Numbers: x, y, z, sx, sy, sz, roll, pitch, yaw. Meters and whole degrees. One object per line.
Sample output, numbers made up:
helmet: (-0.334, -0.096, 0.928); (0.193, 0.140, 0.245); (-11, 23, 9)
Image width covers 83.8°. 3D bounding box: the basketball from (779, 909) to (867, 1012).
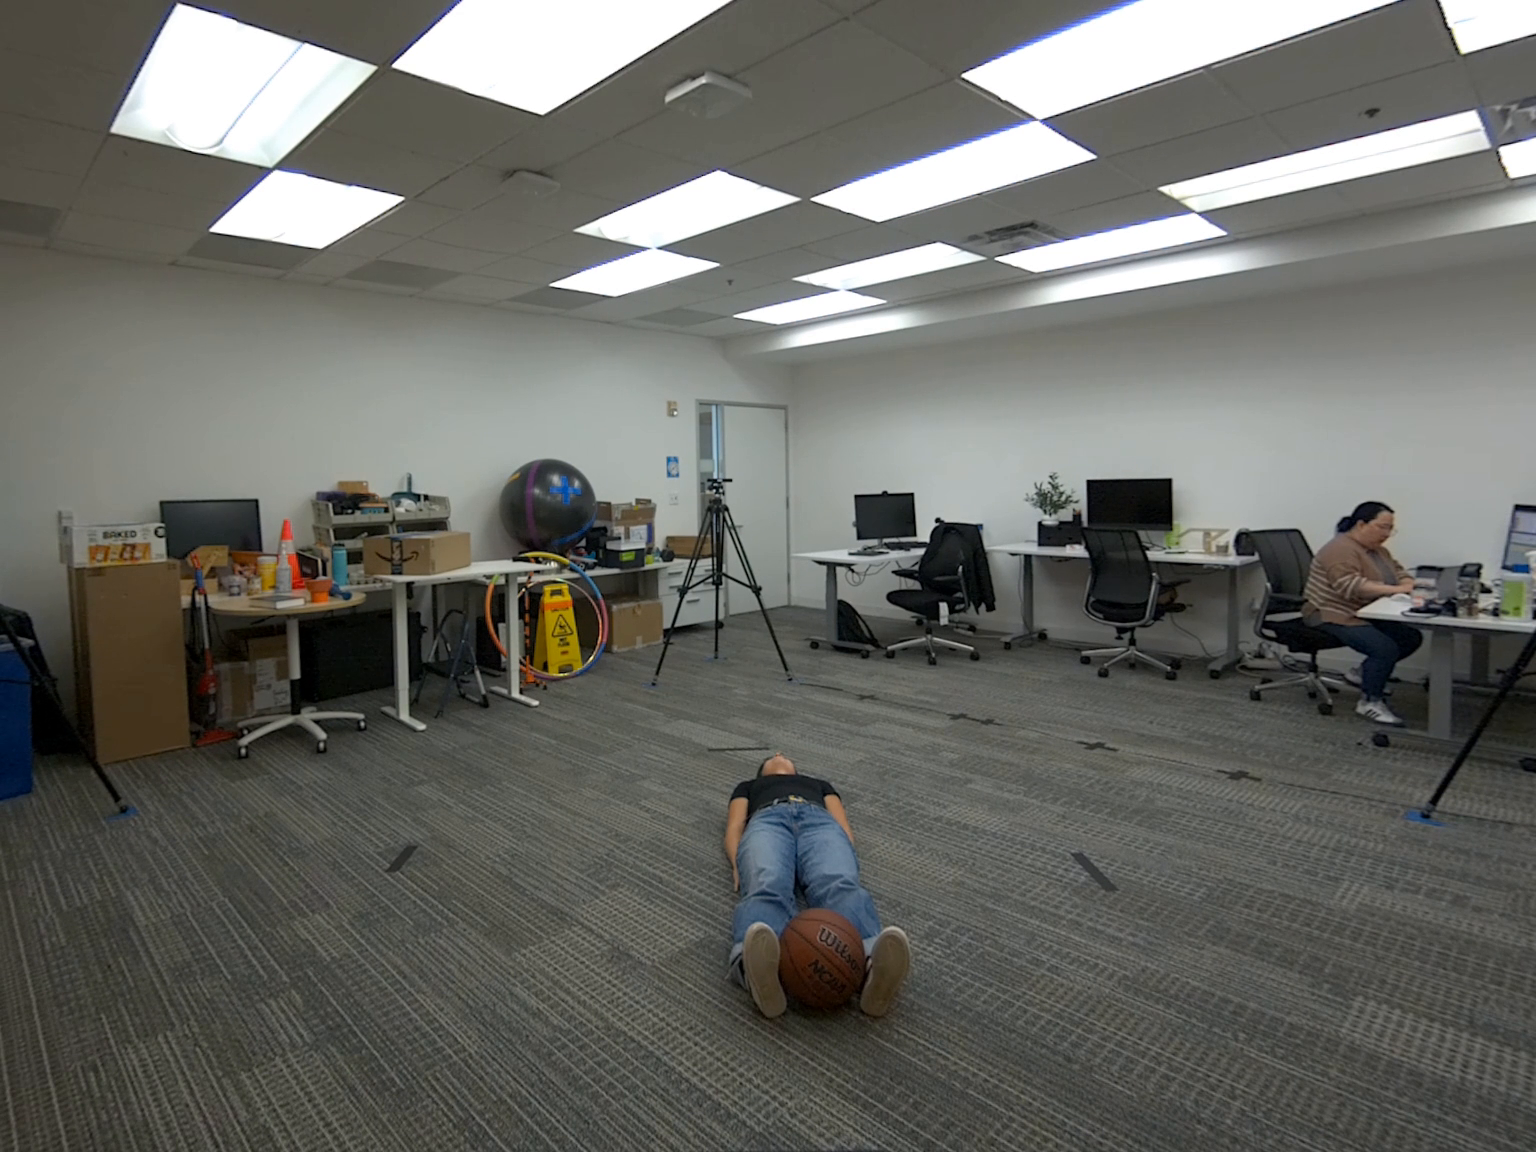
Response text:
basketball: (0.151, 1.015, 2.285); (0.236, 0.235, 0.237); (-1, 5, -2)
